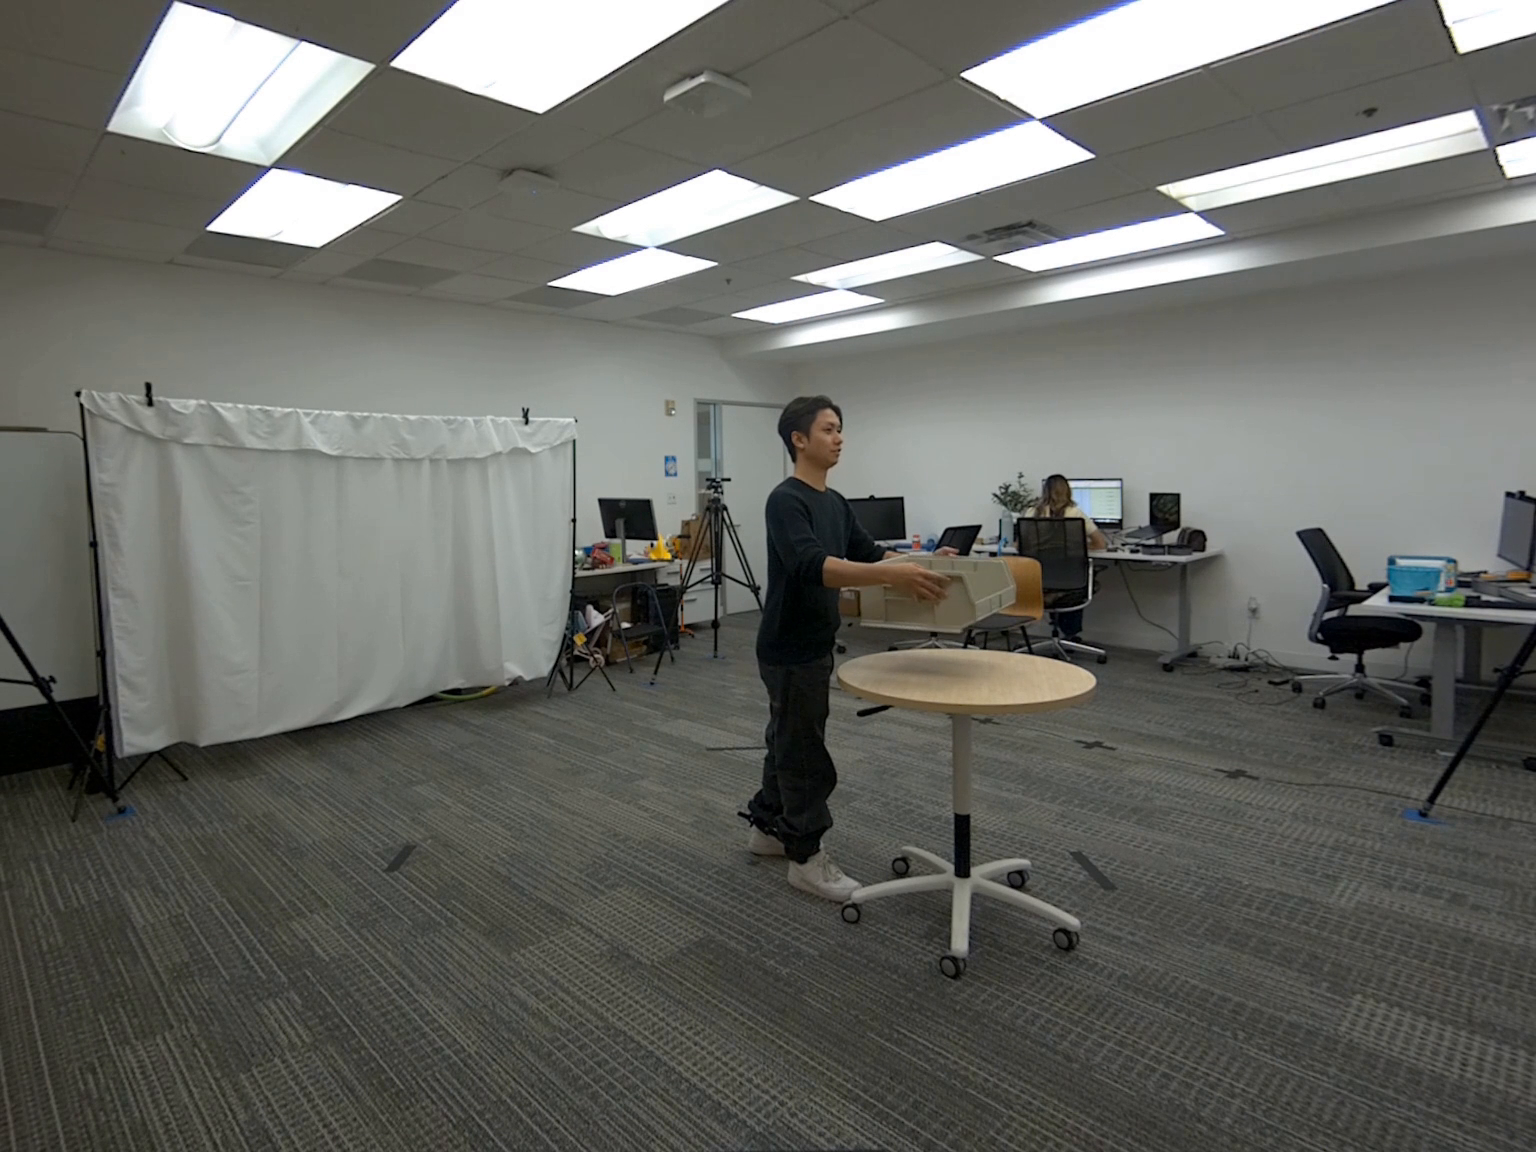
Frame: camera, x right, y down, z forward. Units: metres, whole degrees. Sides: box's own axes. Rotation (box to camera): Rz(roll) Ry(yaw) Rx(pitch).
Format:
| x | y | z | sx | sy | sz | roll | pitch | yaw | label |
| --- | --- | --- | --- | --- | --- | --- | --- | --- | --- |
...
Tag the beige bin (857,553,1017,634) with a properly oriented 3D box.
| x | y | z | sx | sy | sz | roll | pitch | yaw | label |
| --- | --- | --- | --- | --- | --- | --- | --- | --- | --- |
| 0.536 | 0.046 | 2.708 | 0.388 | 0.188 | 0.413 | 1 | 8 | 33 | beige bin |
